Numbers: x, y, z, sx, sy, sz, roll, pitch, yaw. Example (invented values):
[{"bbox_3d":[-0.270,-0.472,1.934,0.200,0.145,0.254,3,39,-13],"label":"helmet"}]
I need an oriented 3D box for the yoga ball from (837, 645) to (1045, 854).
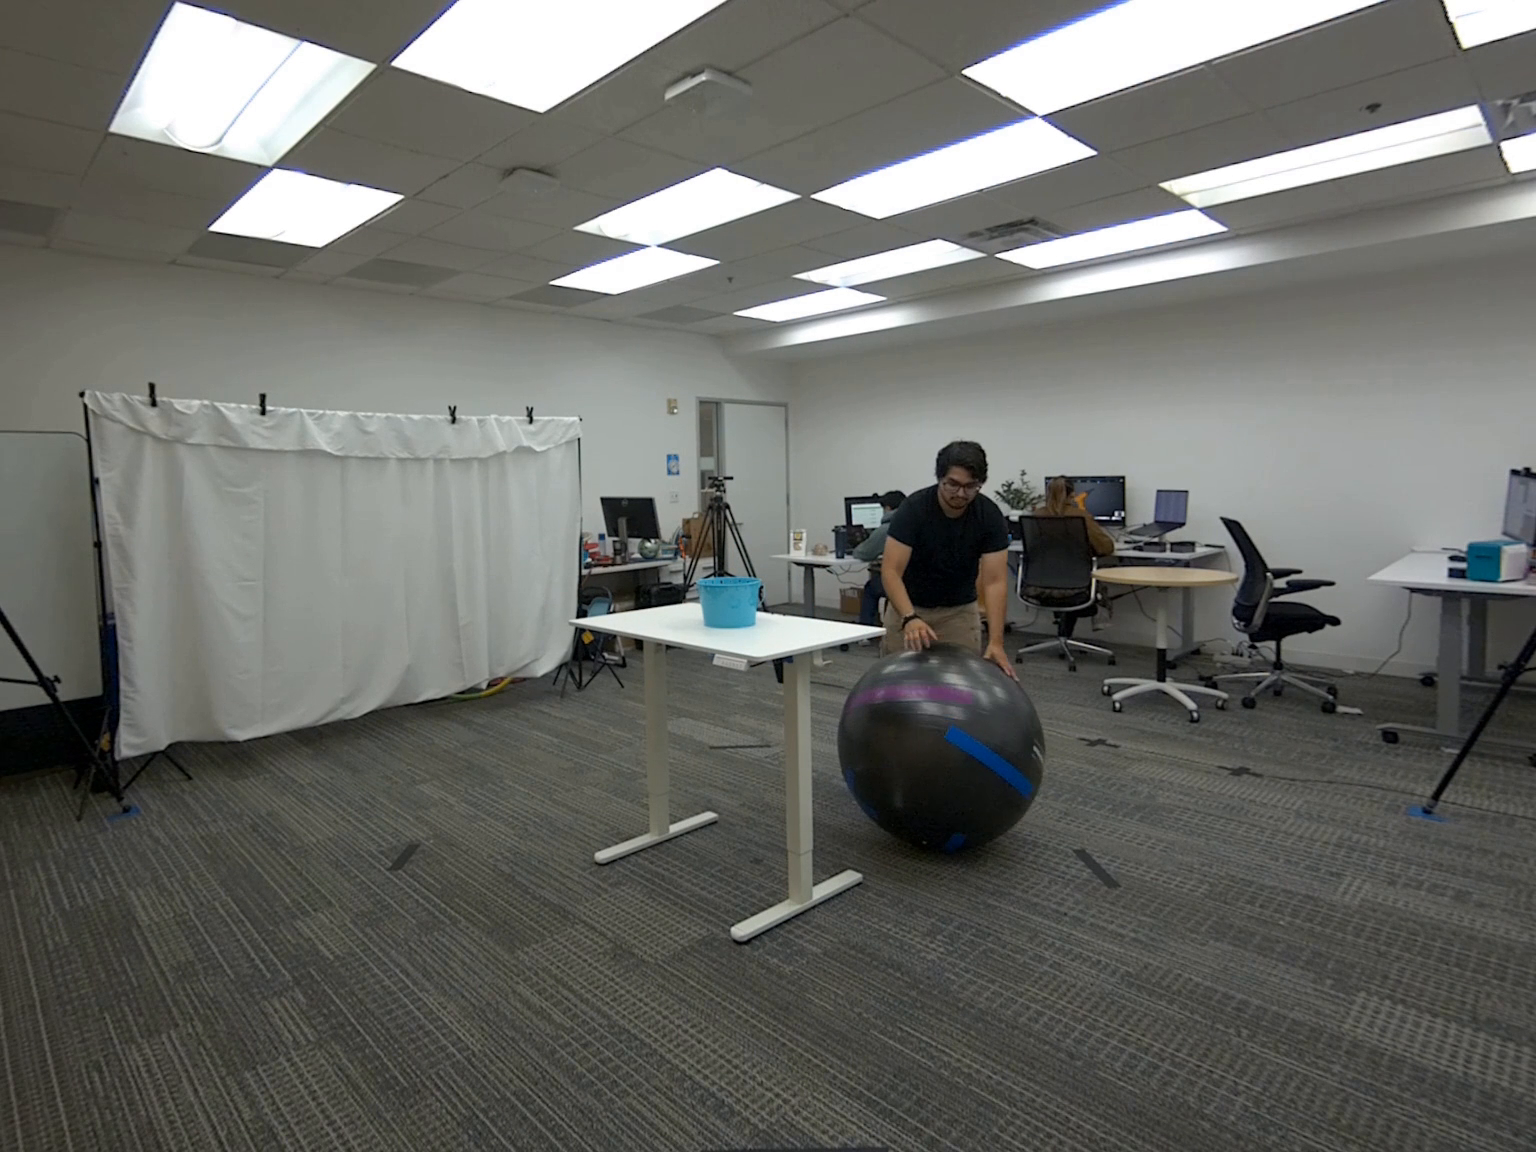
[{"bbox_3d":[0.656,0.647,3.240,0.757,0.755,0.762,-1,5,-2],"label":"yoga ball"}]
